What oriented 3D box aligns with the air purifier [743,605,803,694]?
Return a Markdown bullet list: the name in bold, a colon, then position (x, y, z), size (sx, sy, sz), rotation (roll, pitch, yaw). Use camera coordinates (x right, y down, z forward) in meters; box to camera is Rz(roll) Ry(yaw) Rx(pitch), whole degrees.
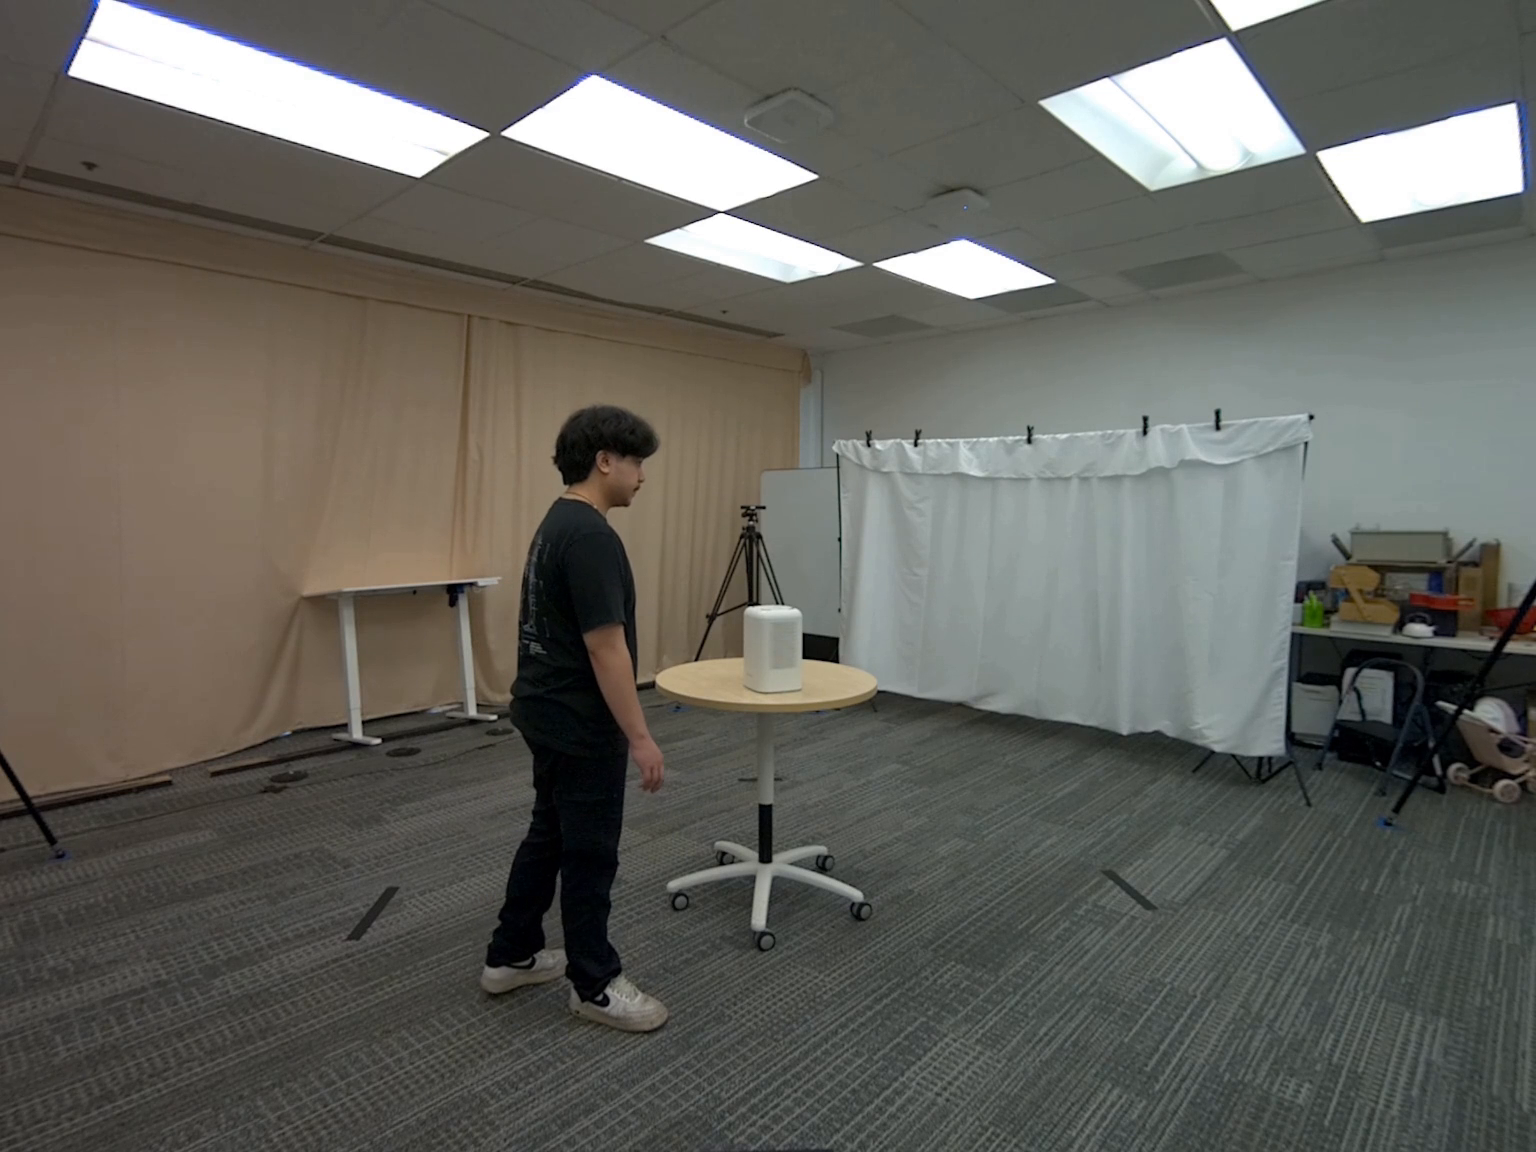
- **air purifier**: position (0.021, 0.236, 2.767), size (0.168, 0.264, 0.175), rotation (-1, 5, -22)
